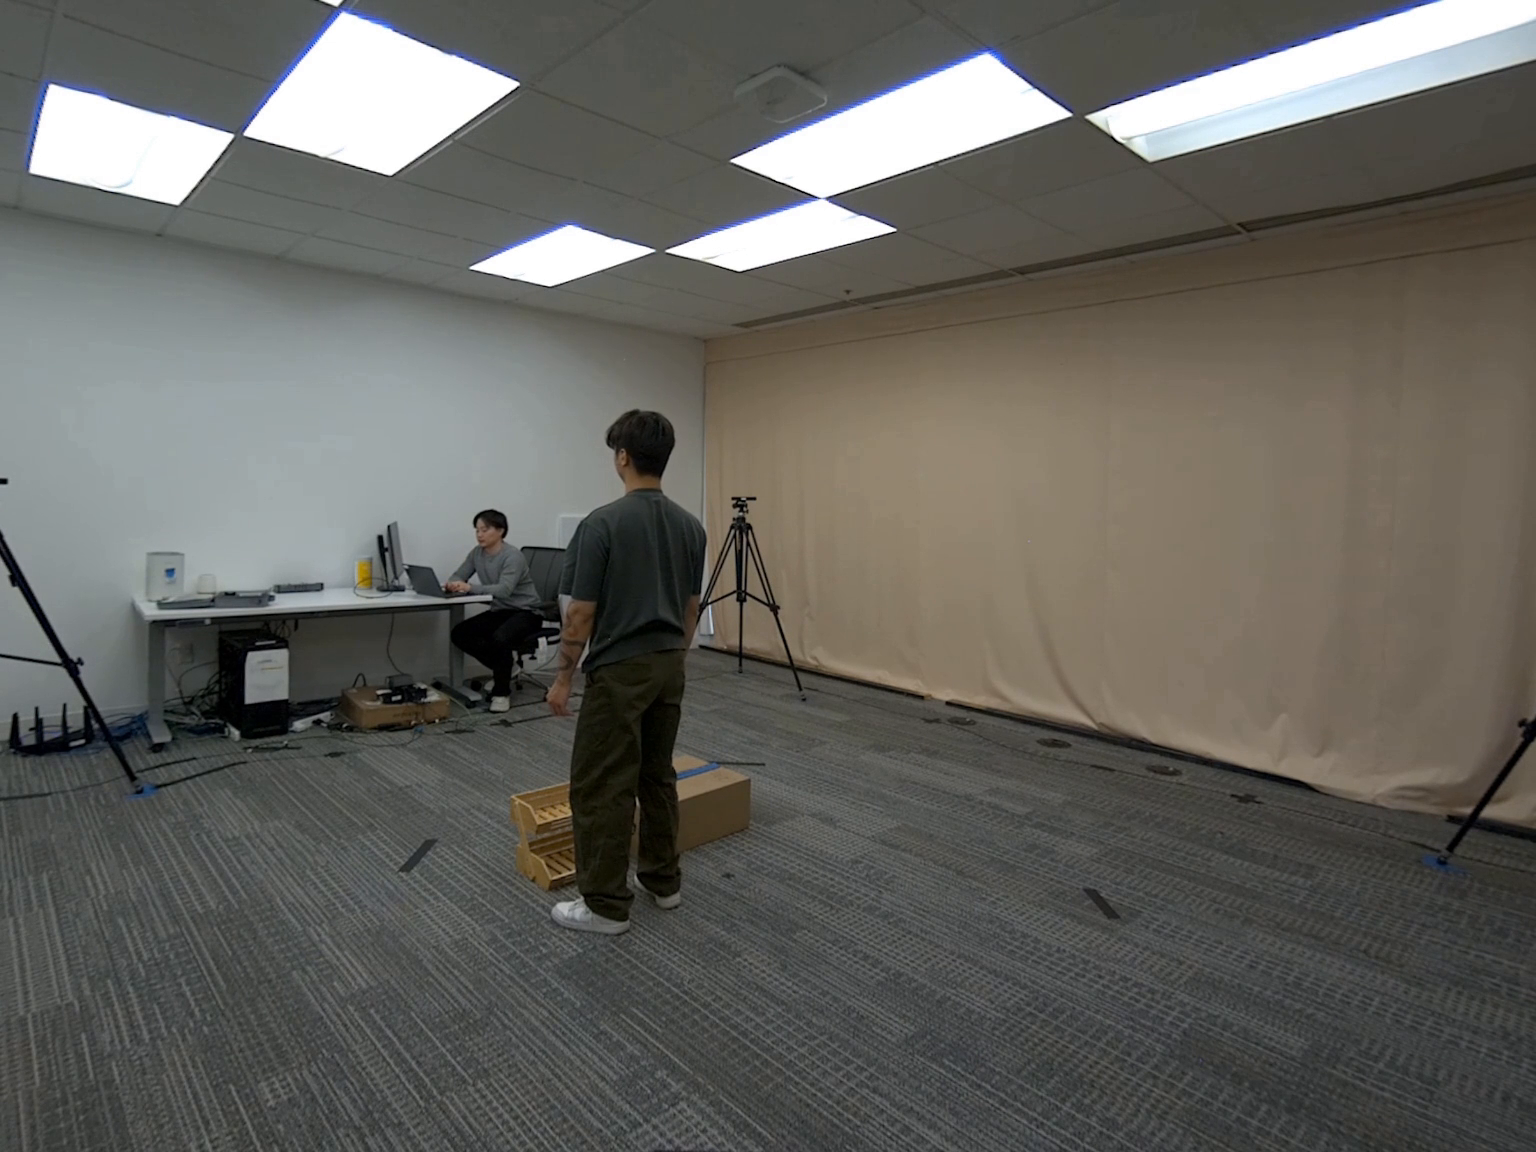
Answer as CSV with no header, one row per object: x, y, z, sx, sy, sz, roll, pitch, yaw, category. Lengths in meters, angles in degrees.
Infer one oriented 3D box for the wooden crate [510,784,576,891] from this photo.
-0.759,0.952,3.138,0.317,0.272,0.310,-4,6,-43,wooden crate
